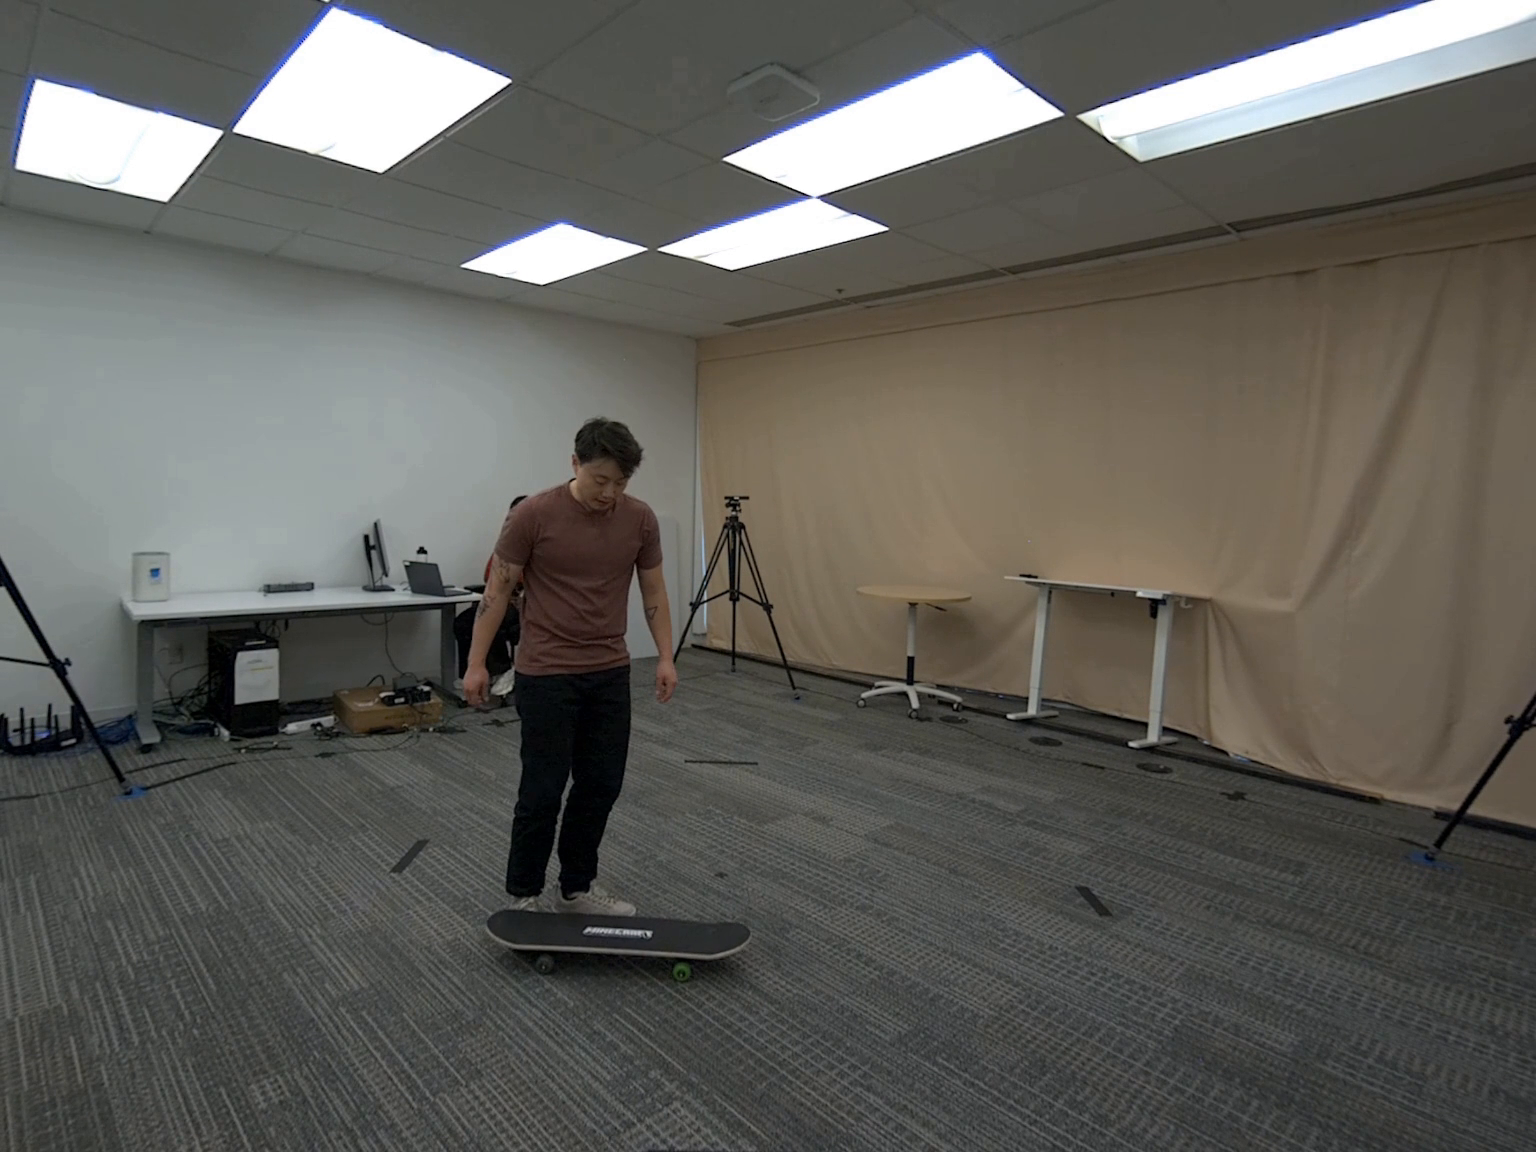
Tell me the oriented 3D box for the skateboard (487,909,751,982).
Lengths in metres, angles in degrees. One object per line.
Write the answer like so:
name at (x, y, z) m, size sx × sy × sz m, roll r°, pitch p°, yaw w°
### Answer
skateboard at (-0.441, 1.095, 2.493) m, size 0.787 × 0.110 × 0.193 m, roll 1°, pitch 4°, yaw 2°
